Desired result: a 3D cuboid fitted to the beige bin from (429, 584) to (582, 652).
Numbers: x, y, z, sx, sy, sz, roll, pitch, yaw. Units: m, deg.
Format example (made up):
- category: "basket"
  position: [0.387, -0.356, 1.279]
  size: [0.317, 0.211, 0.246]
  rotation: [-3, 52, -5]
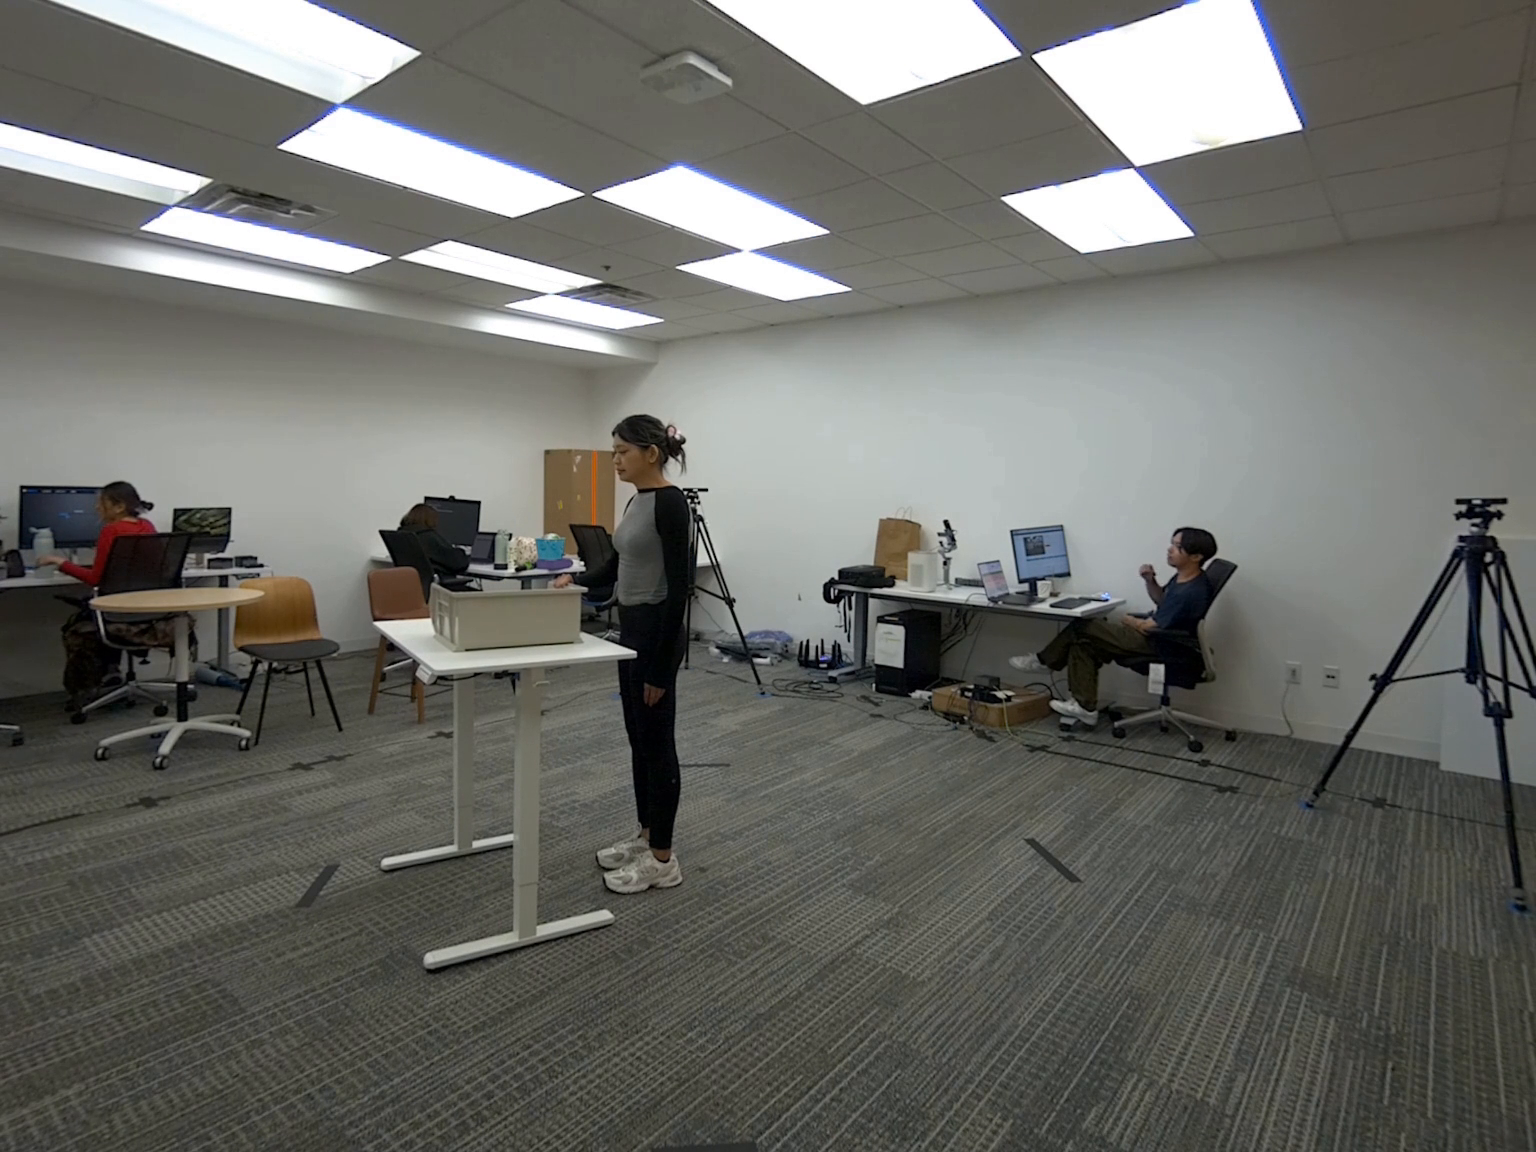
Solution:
- category: "beige bin"
  position: [-0.874, 0.124, 2.793]
  size: [0.411, 0.188, 0.389]
  rotation: [-1, 6, -31]
